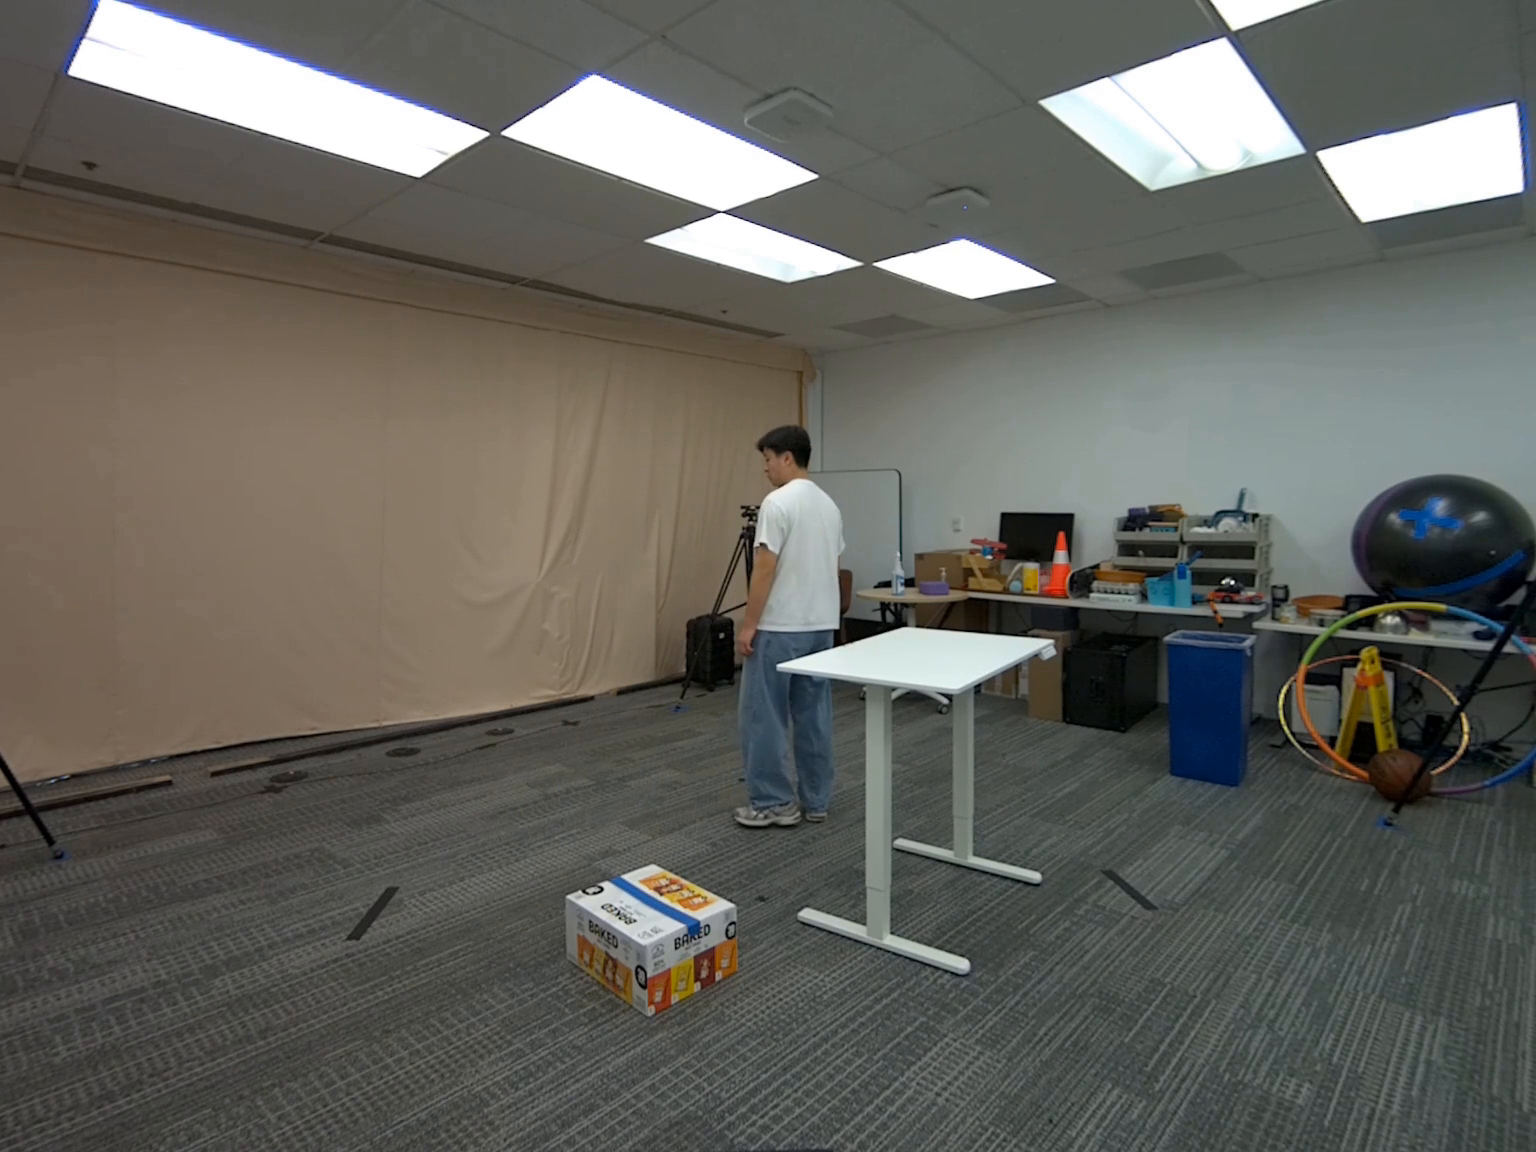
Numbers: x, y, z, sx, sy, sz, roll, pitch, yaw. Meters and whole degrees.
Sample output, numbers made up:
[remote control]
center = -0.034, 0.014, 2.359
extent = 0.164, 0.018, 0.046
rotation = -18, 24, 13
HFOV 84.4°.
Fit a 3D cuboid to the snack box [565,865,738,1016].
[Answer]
[snack box]
center = -0.355, 1.082, 2.542
extent = 0.330, 0.205, 0.419
rotation = -4, 6, -44
